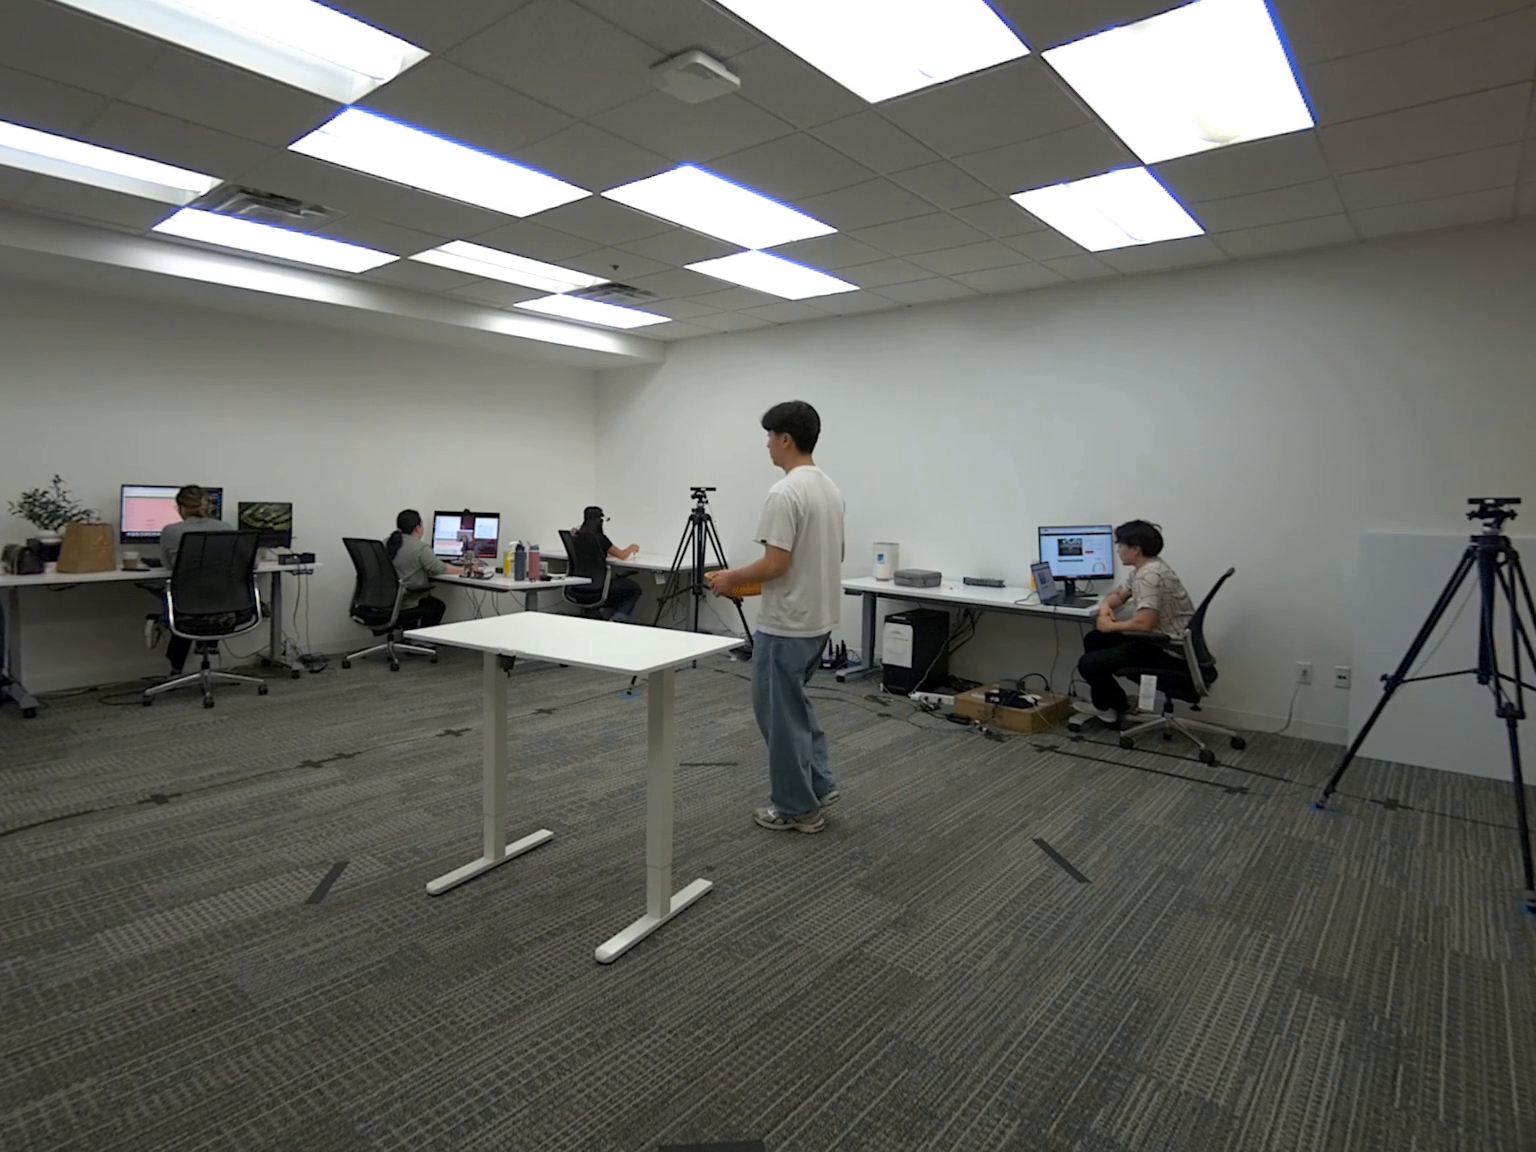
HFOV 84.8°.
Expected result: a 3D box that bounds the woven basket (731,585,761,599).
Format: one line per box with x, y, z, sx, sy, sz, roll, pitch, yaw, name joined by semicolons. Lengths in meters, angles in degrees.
-0.099;0.036;3.603;0.261;0.073;0.340;10;10;41;woven basket
